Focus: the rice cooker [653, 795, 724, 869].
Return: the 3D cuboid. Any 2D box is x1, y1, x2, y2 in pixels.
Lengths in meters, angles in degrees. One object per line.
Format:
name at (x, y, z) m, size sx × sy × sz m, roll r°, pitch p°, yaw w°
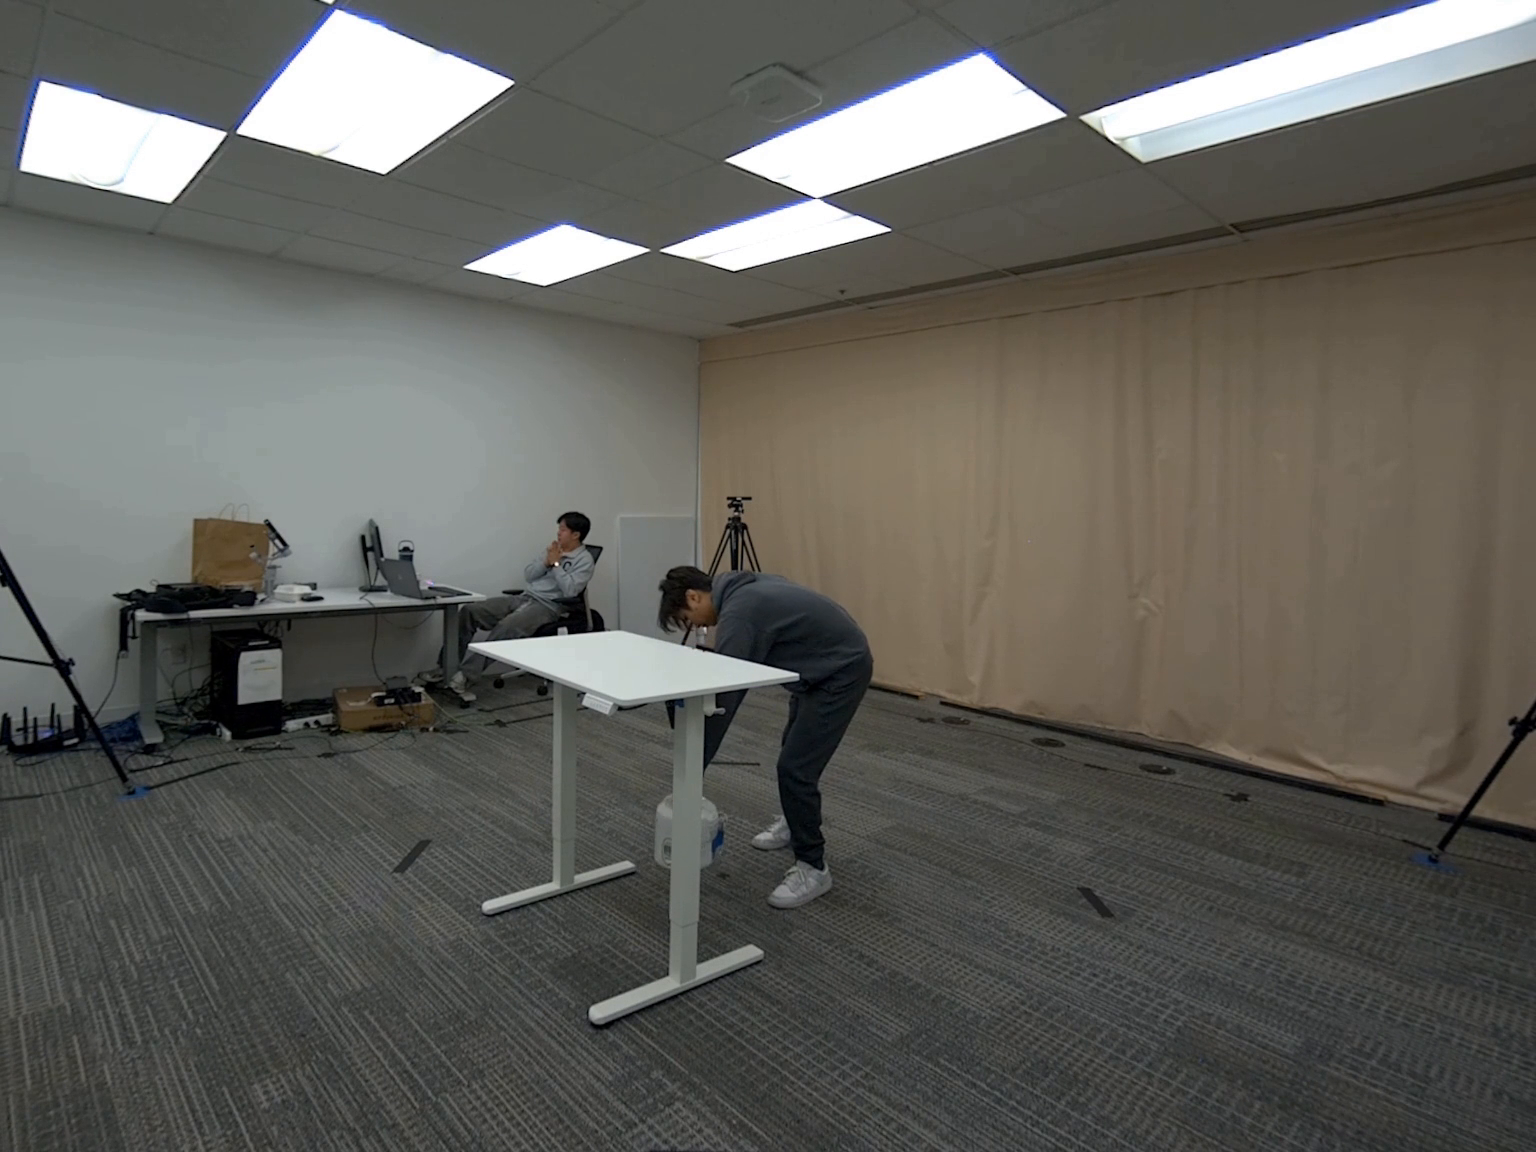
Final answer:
rice cooker at (-0.279, 0.855, 2.830) m, size 0.225 × 0.232 × 0.213 m, roll 5°, pitch 4°, yaw 27°
